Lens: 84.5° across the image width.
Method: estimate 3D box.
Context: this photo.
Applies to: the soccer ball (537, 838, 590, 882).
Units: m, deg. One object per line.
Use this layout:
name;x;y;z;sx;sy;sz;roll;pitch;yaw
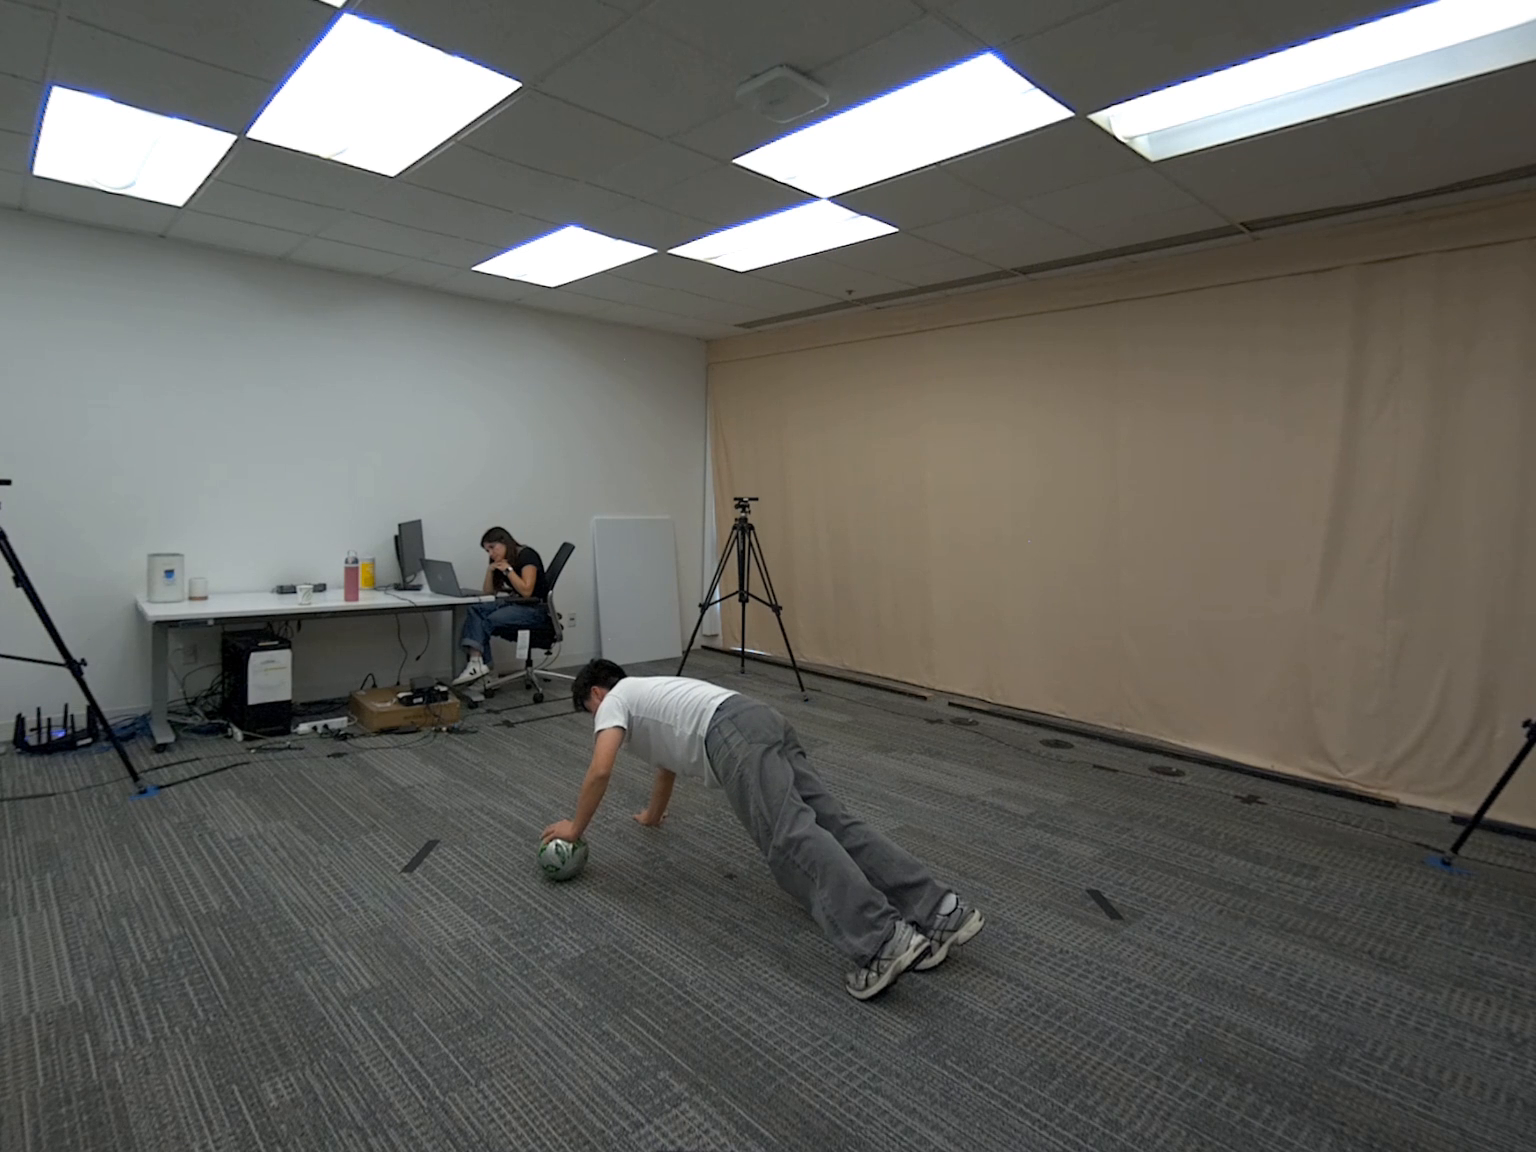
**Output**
soccer ball;-0.746;1.005;3.067;0.187;0.187;0.188;1;4;-1
